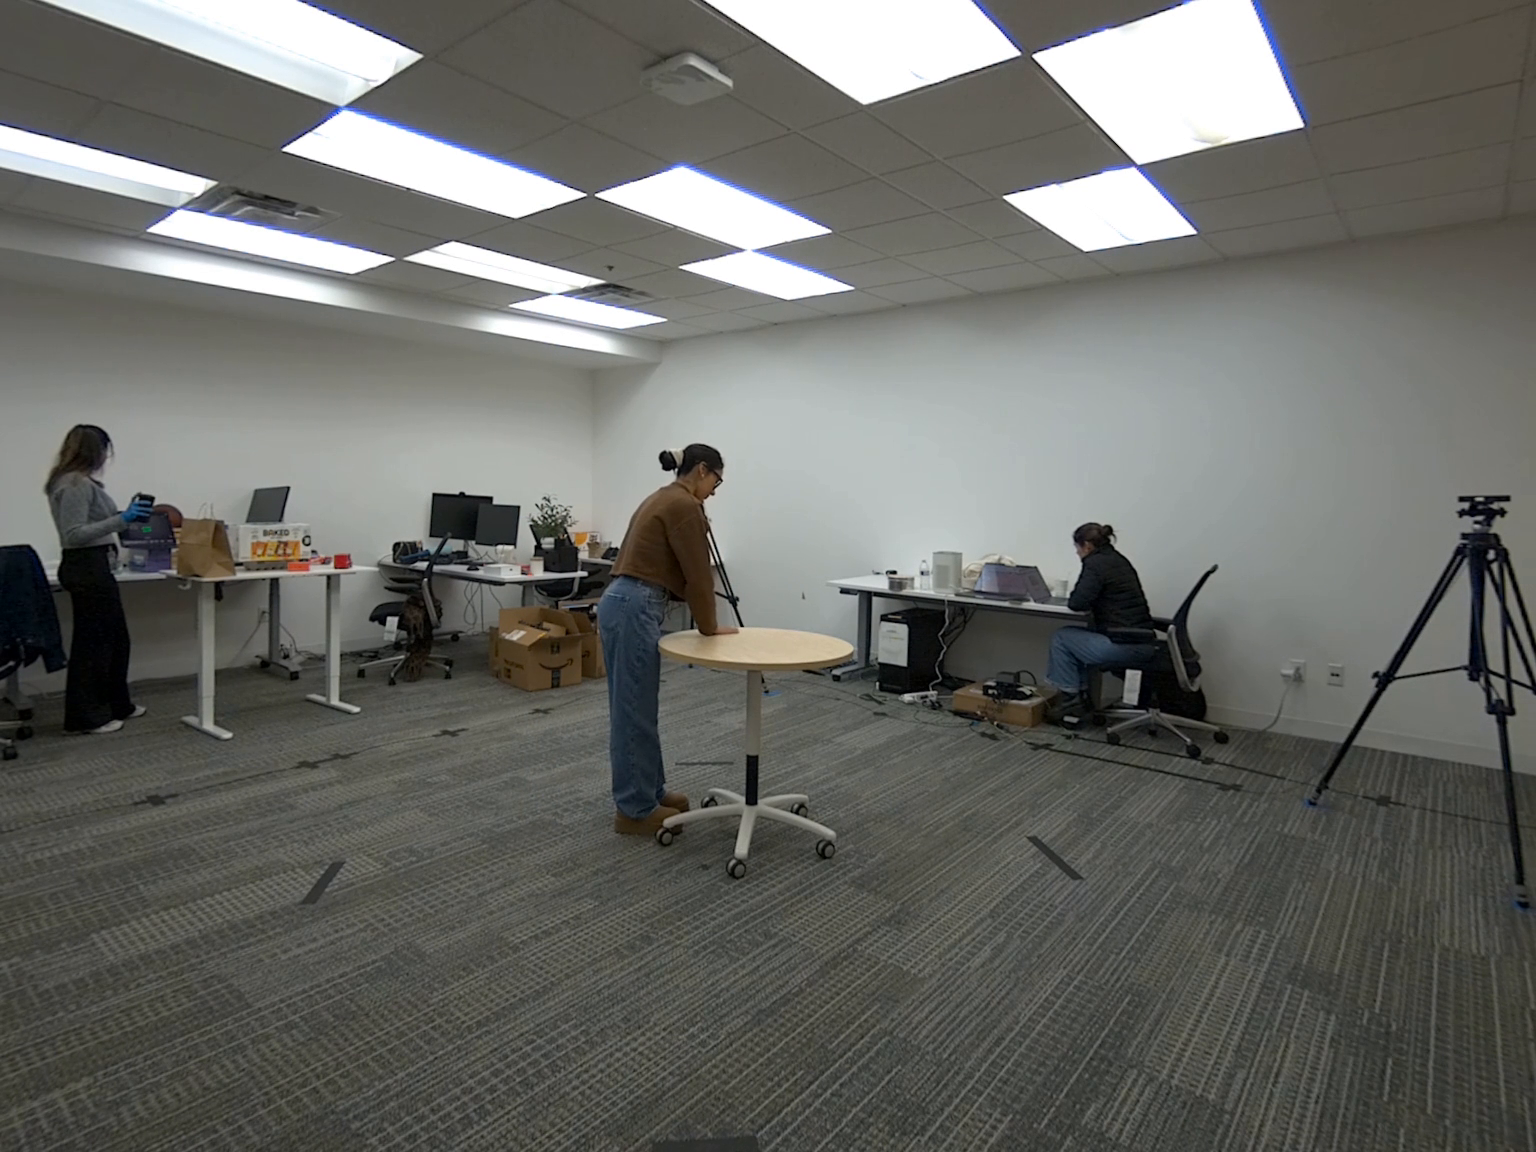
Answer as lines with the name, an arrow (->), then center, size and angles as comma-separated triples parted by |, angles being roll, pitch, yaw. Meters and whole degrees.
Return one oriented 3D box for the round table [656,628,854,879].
round table -> -0.068, 0.656, 3.364 | 0.763, 0.791, 0.768 | 1, 4, -2
